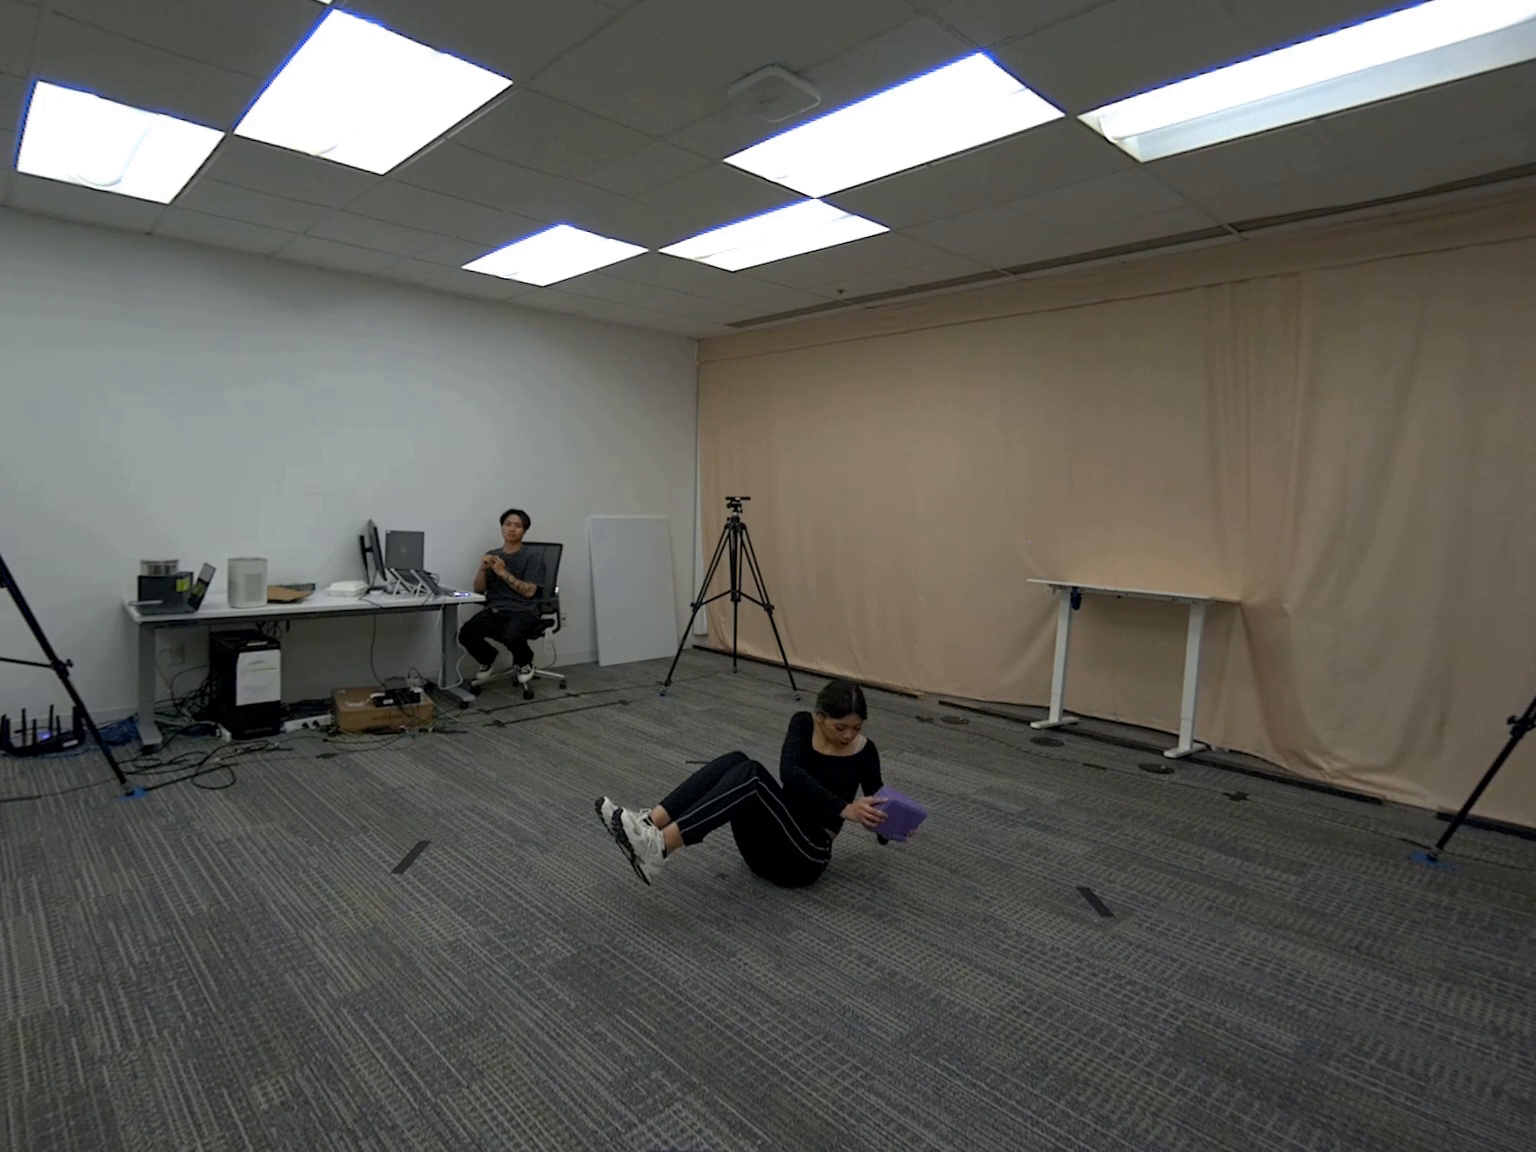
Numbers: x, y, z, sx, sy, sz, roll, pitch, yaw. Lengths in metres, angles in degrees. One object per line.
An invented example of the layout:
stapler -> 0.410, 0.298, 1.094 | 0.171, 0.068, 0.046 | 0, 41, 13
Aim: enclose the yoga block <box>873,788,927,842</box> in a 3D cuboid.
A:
yoga block -> 0.411, 0.833, 2.946 | 0.224, 0.148, 0.078 | 25, 22, -26
